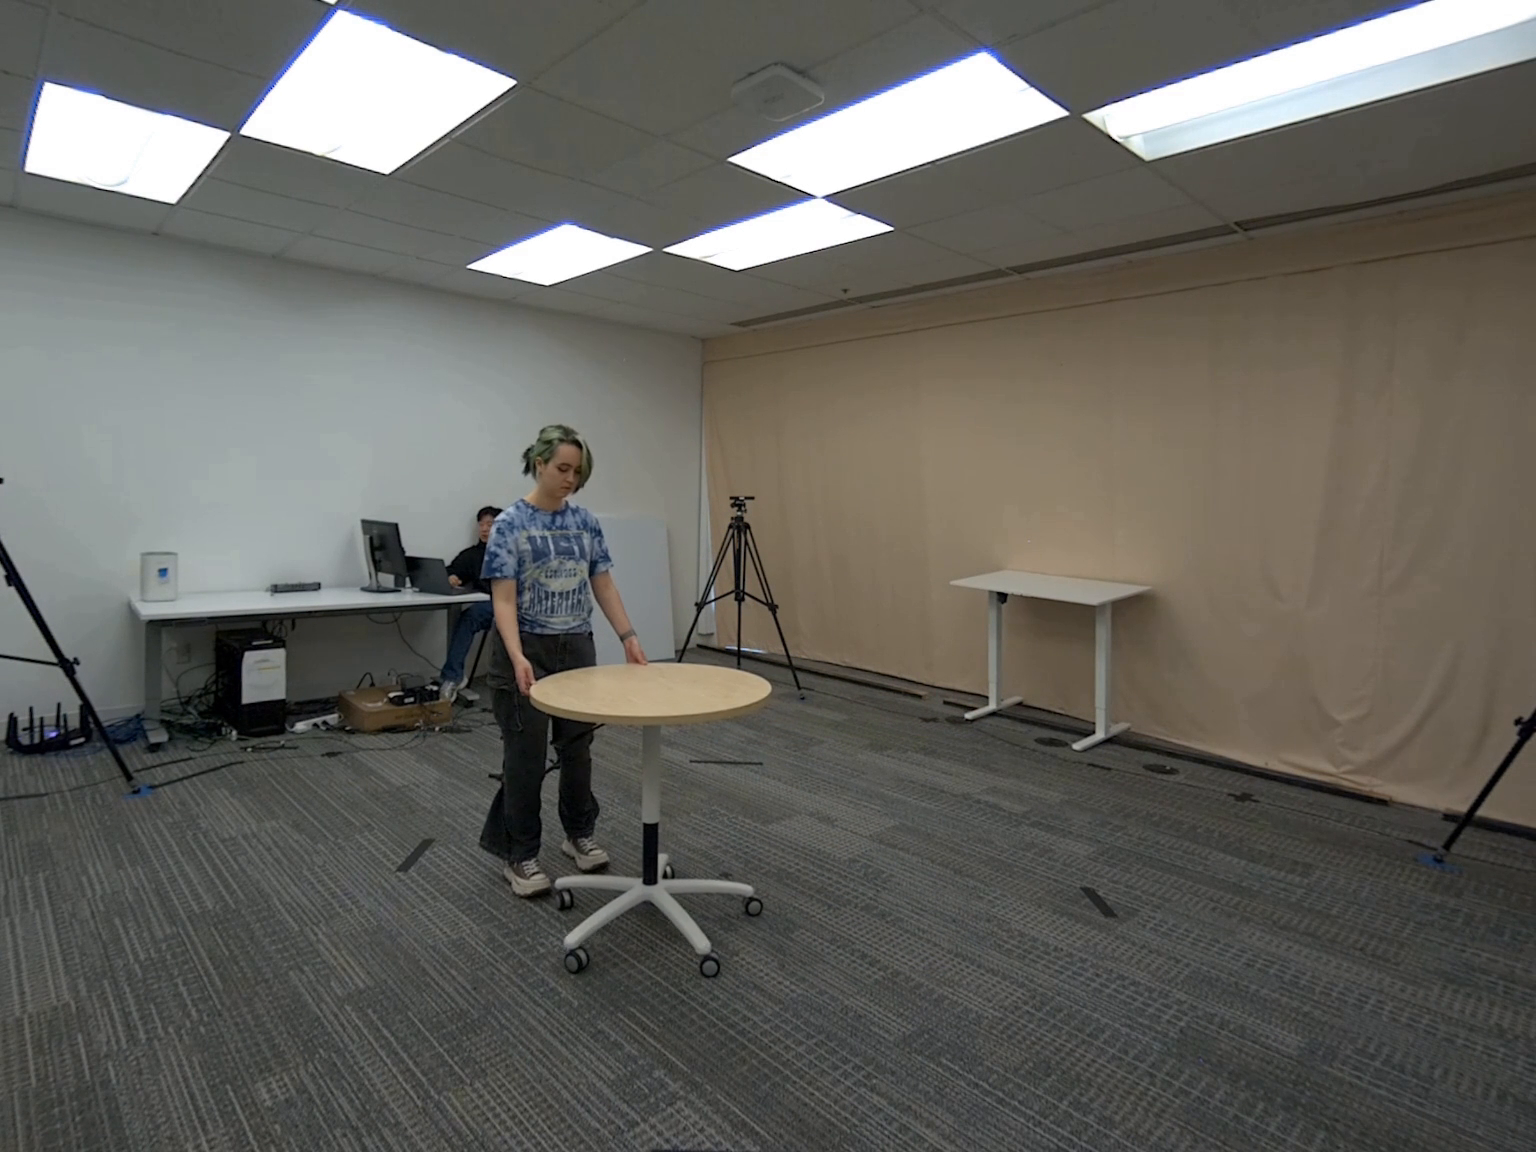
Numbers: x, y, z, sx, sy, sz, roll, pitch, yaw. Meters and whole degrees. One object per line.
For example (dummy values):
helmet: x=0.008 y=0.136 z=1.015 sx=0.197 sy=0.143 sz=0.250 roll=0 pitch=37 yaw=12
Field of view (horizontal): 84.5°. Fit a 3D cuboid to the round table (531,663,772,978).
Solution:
round table: x=-0.376 y=0.747 z=2.706 sx=0.763 sy=0.792 sz=0.767 roll=0 pitch=4 yaw=-1
